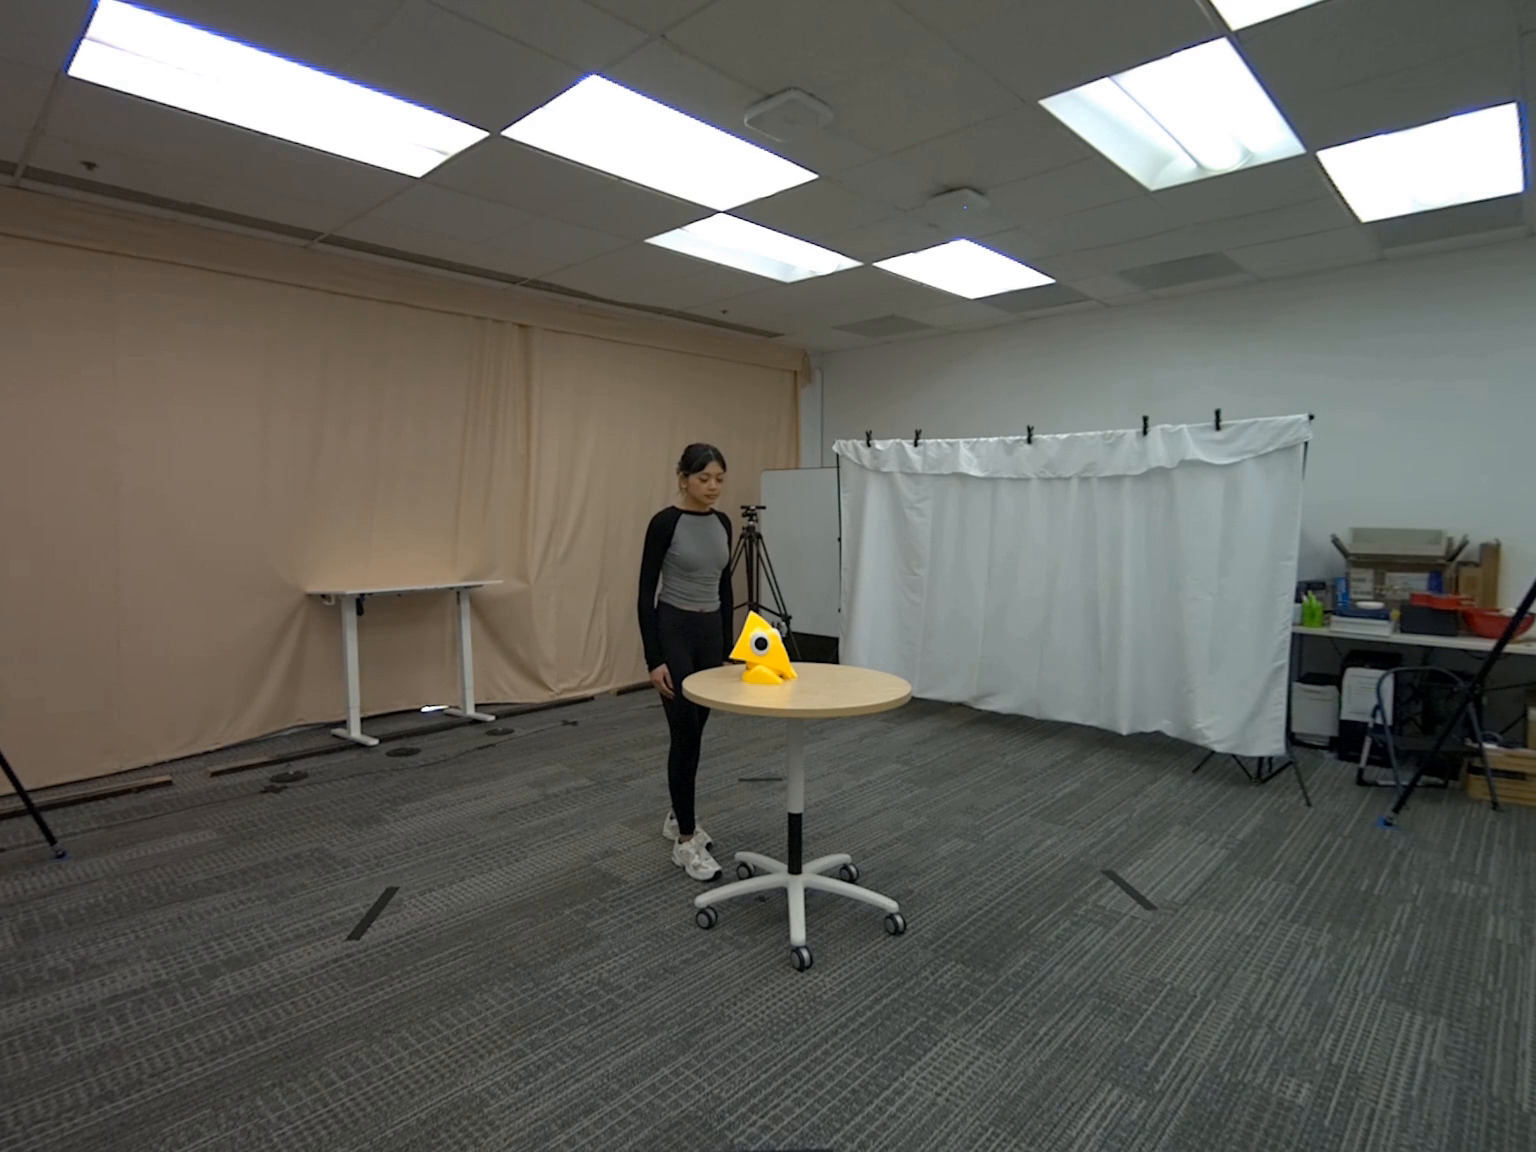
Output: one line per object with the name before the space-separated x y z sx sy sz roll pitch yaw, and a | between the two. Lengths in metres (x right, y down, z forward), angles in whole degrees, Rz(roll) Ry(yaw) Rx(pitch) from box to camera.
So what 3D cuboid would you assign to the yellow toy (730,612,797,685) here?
yellow toy | 0.000 0.240 2.926 0.198 0.230 0.200 1 4 27
